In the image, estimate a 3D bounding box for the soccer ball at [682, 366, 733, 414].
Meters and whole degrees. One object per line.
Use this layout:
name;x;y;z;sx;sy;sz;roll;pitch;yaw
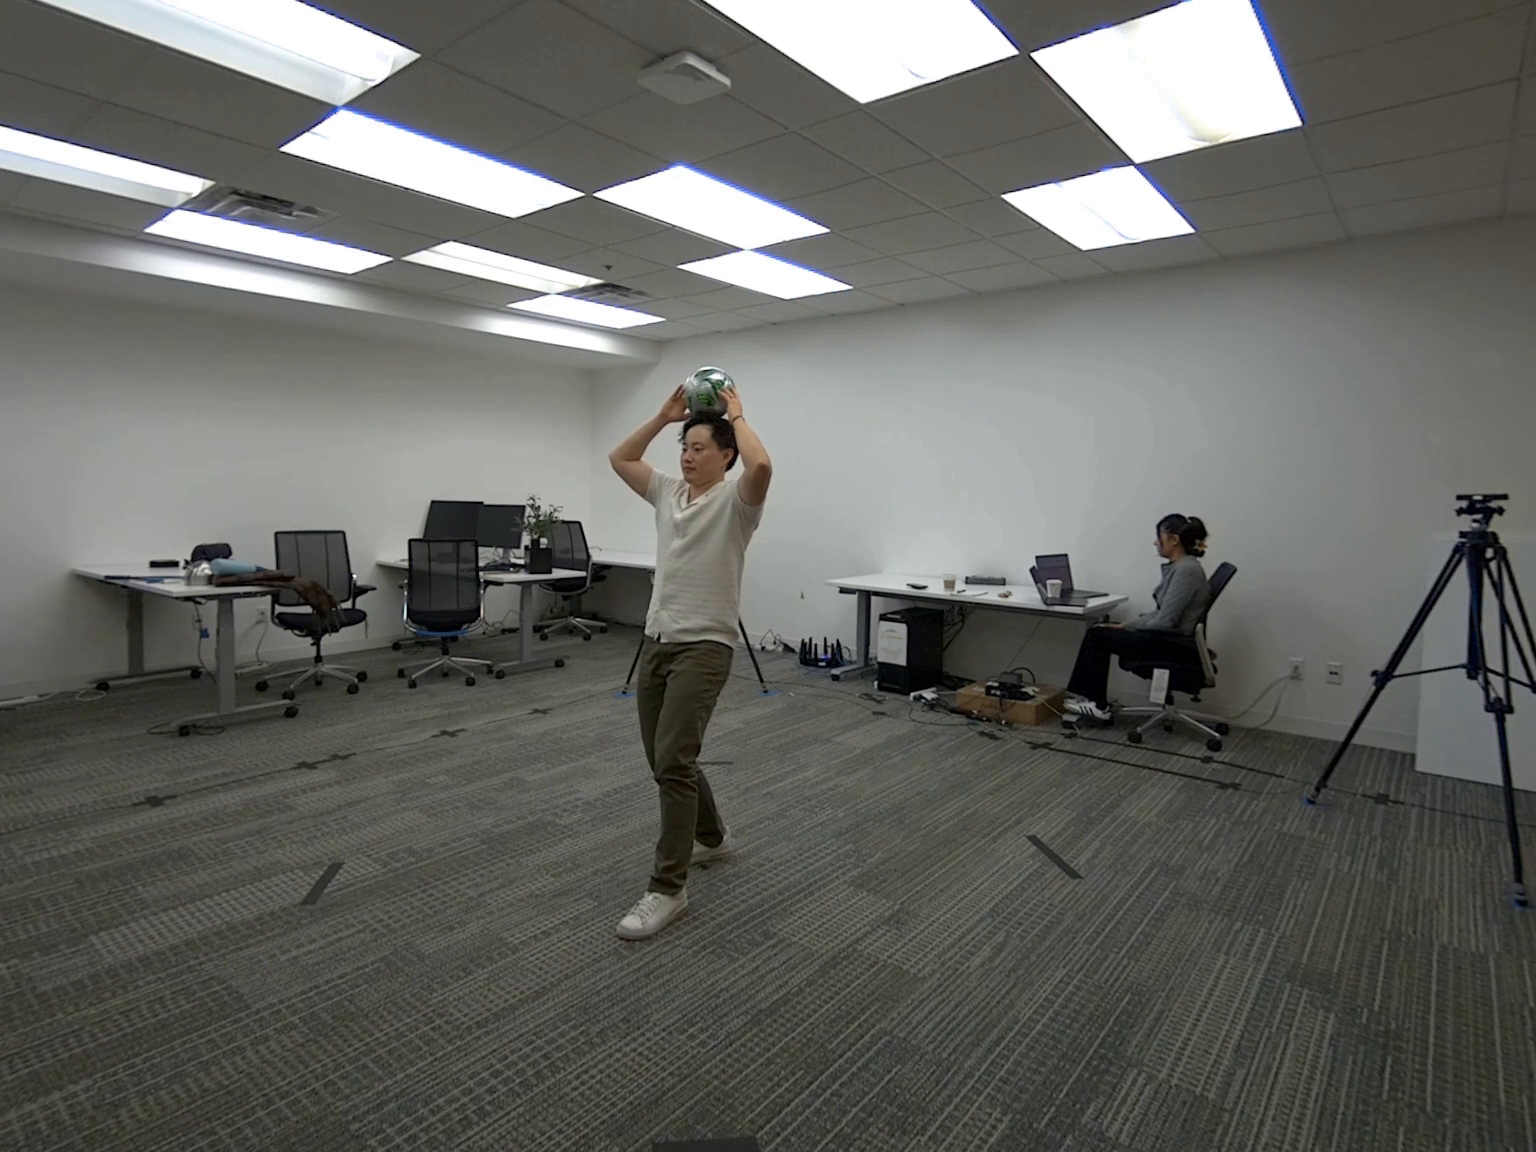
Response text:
soccer ball;-0.219;-0.650;3.047;0.187;0.187;0.188;1;4;-2
